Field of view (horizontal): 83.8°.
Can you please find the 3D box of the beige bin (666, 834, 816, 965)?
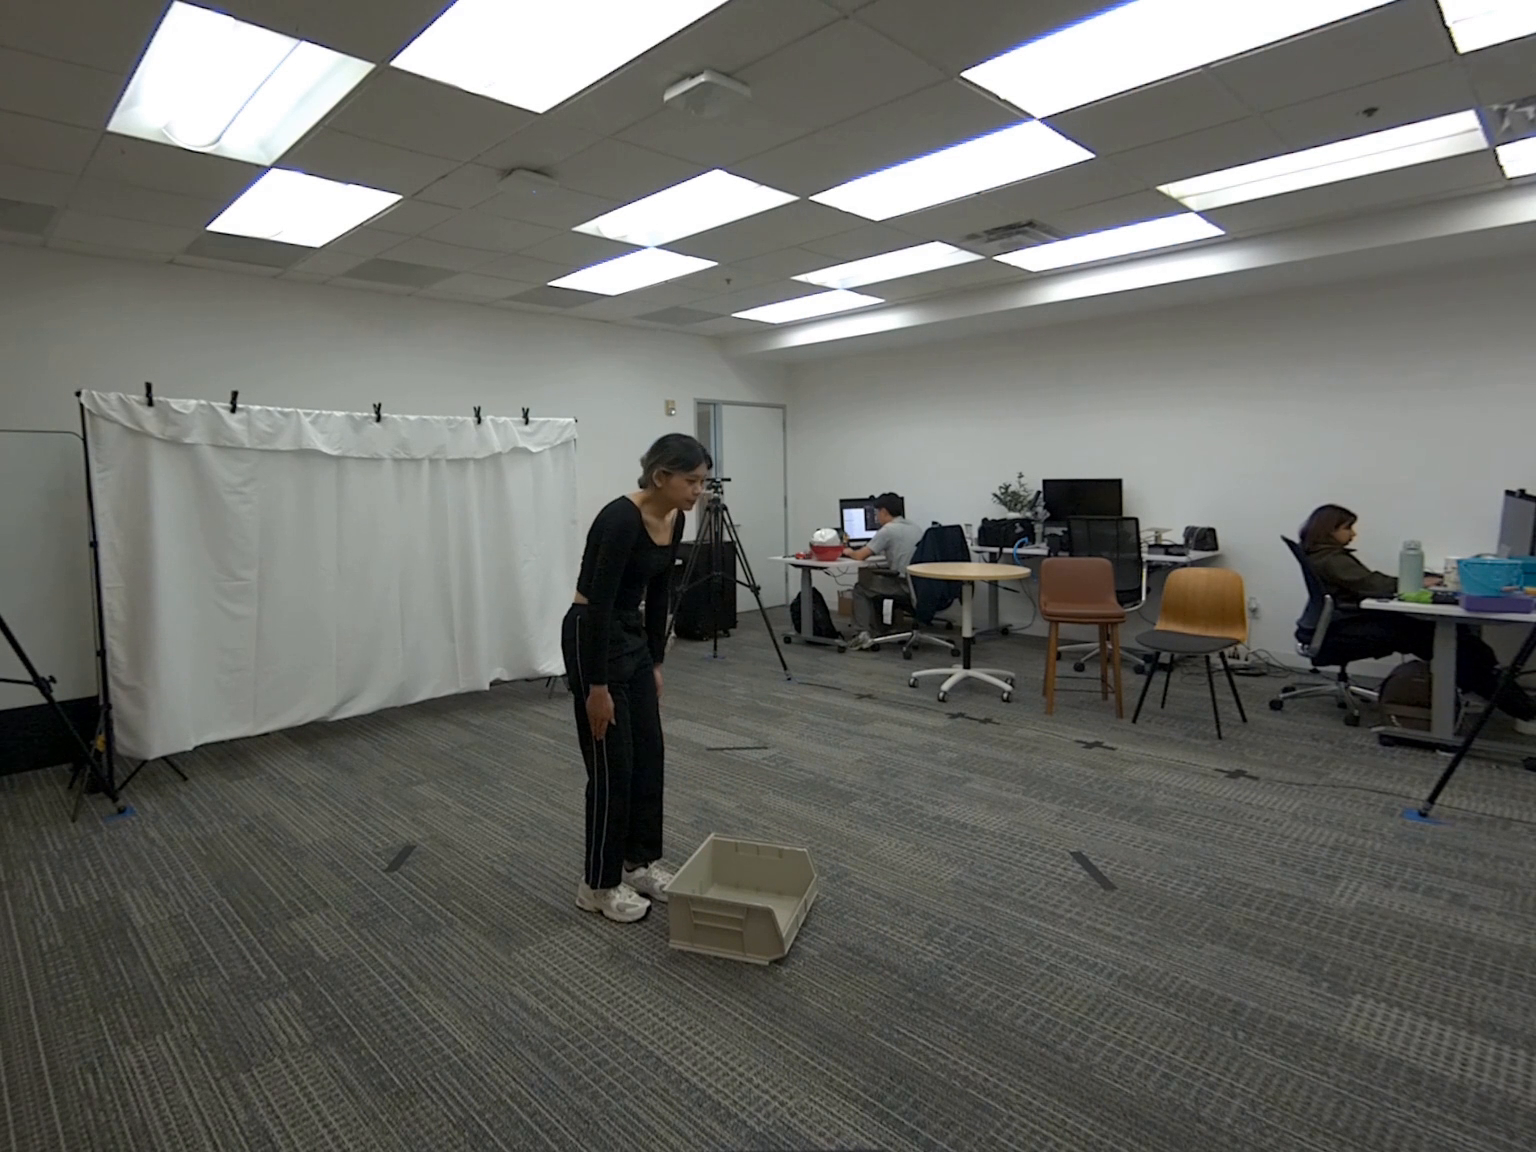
[{"bbox_3d":[-0.068,1.004,2.679,0.384,0.188,0.417,0,7,19],"label":"beige bin"}]
